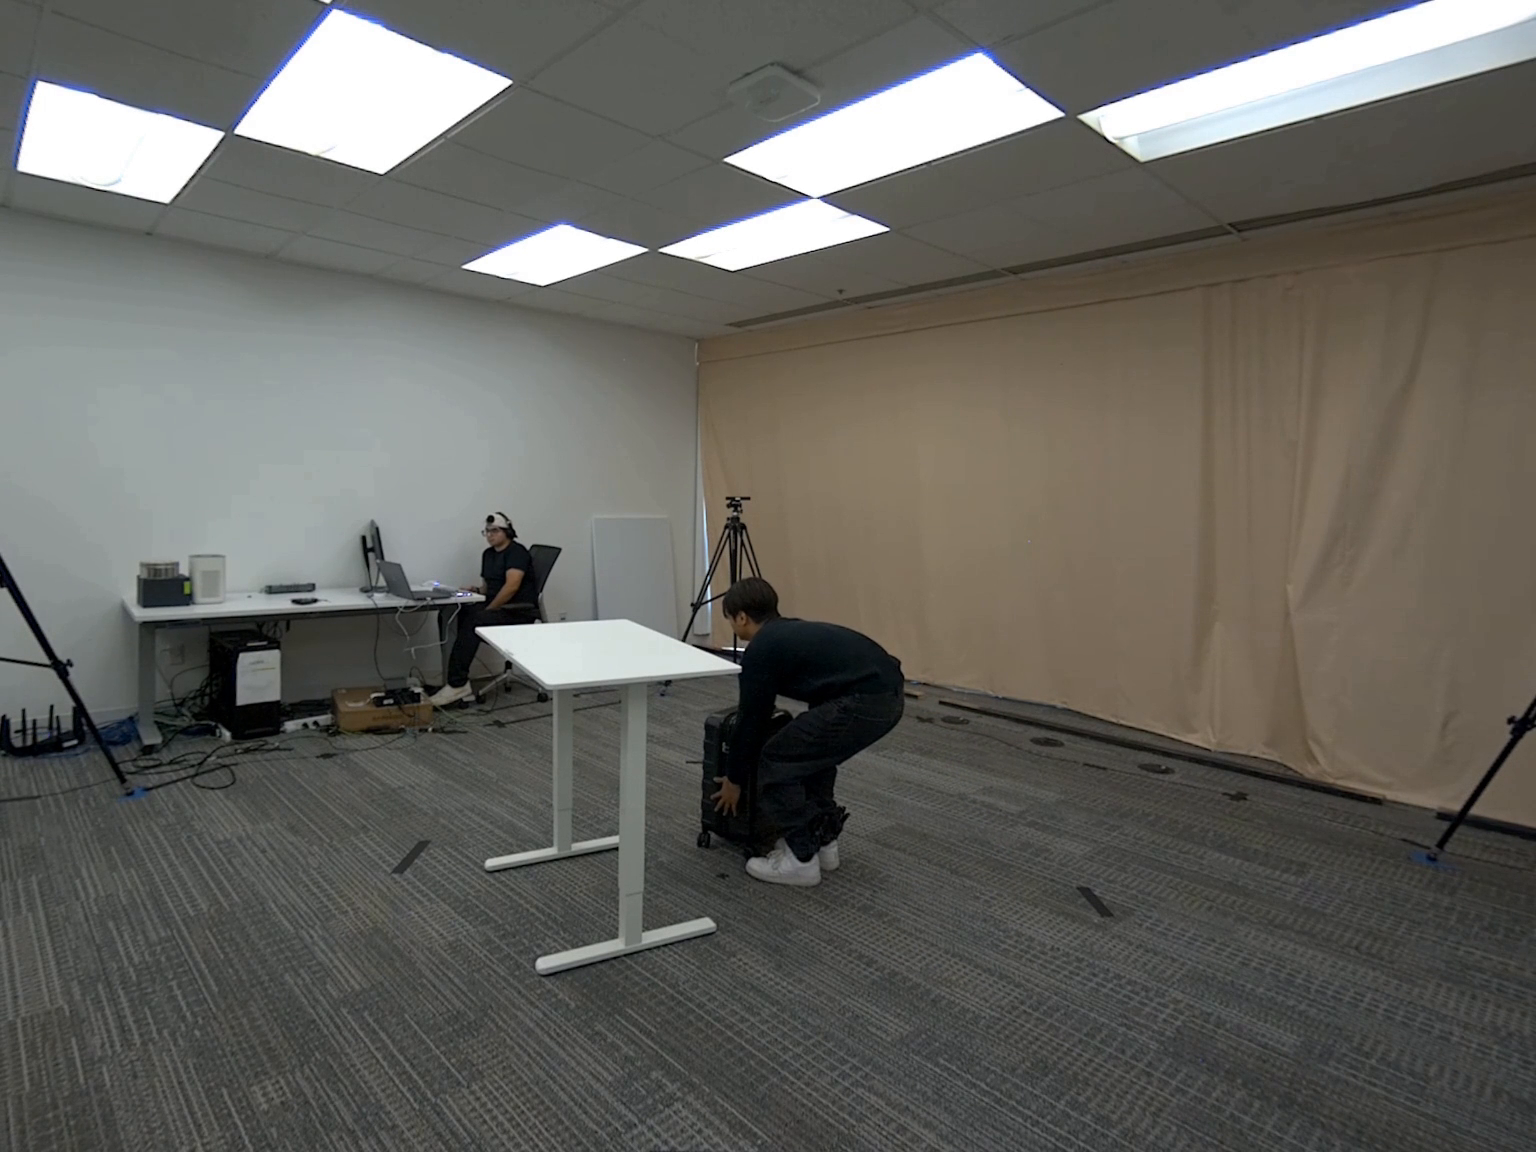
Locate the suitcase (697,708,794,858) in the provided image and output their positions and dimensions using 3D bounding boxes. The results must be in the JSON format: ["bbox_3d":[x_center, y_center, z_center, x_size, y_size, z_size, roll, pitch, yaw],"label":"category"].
[{"bbox_3d":[-0.092,0.802,3.431,0.254,0.548,0.367,4,4,33],"label":"suitcase"}]
